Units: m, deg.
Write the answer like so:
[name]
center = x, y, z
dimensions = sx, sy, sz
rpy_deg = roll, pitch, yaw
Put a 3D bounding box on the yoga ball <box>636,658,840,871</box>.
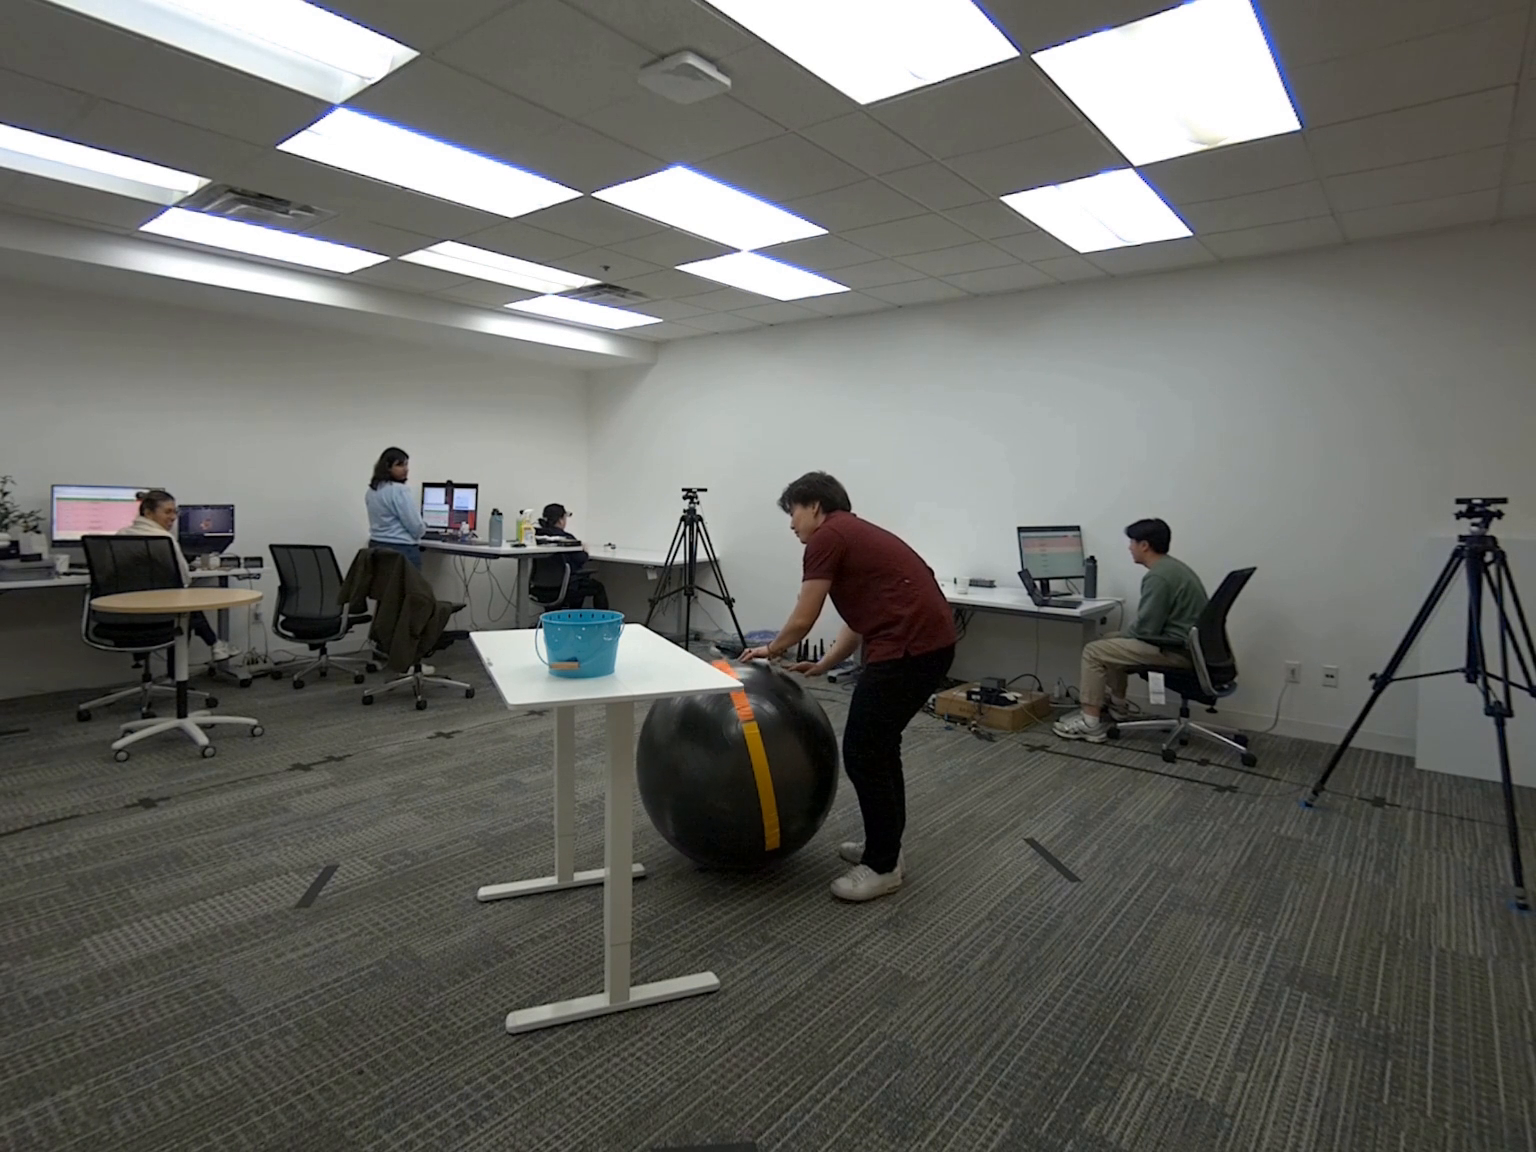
[yoga ball]
center = -0.116, 0.692, 3.176
dimensions = 0.757, 0.756, 0.762
rpy_deg = 1, 4, -2
